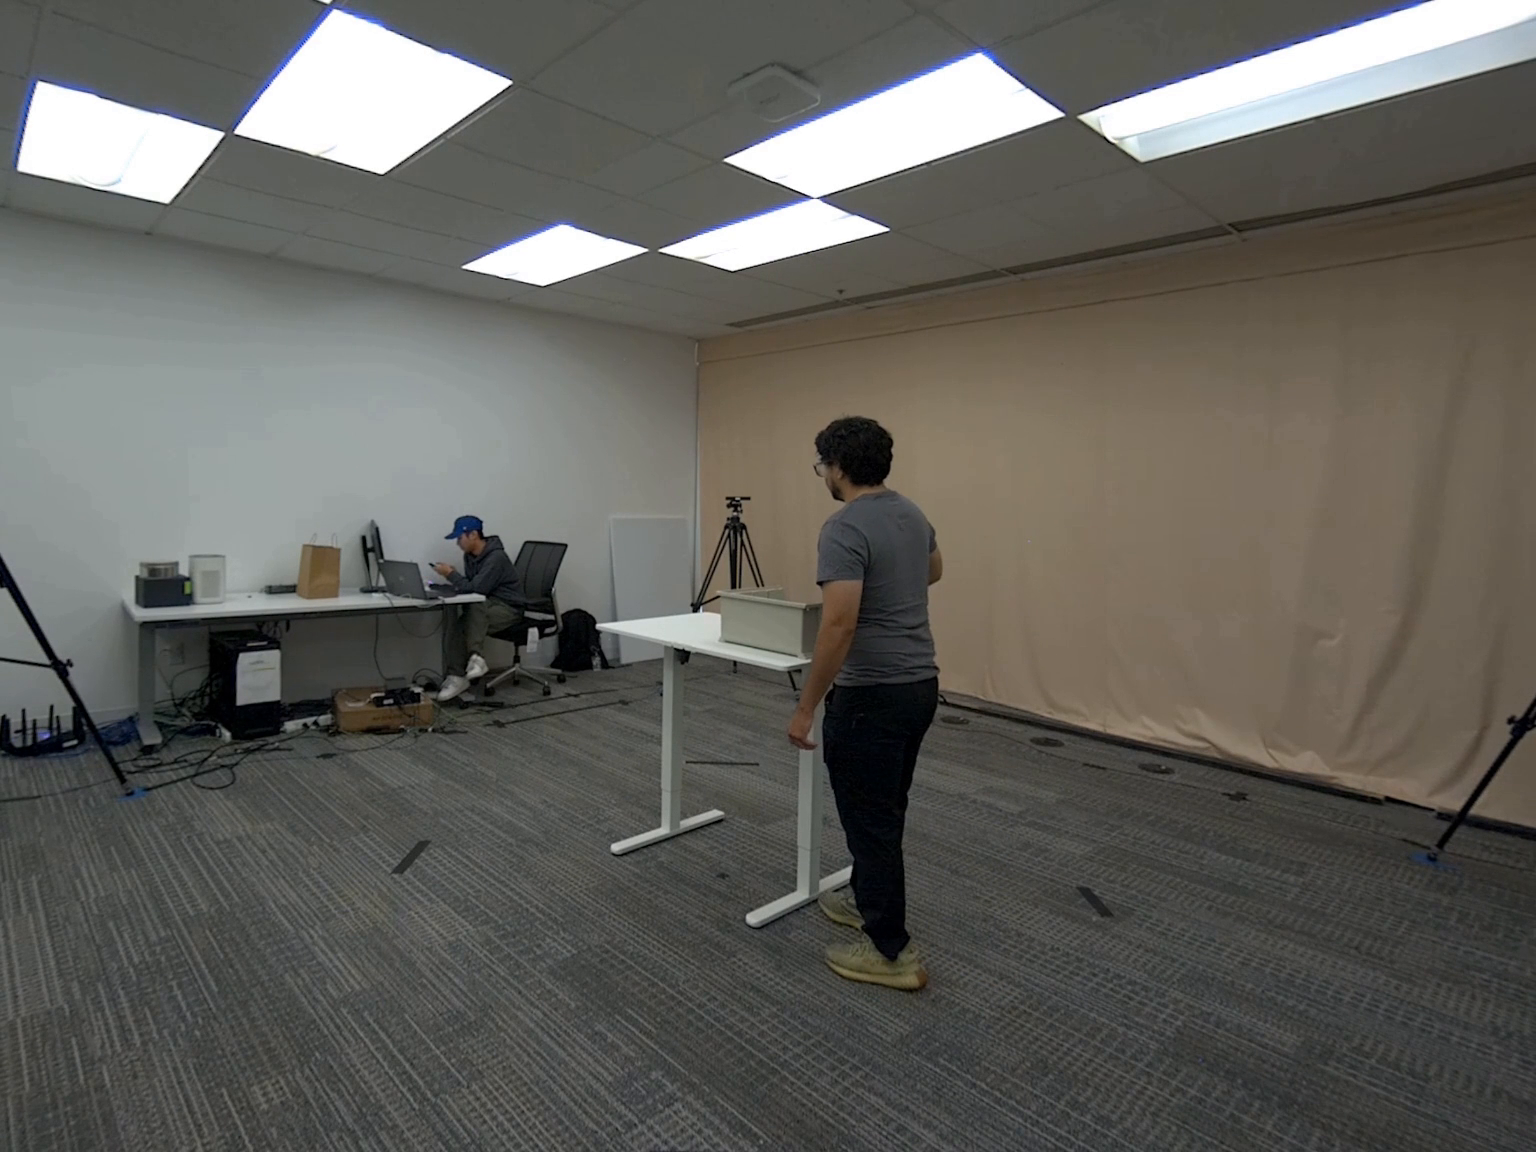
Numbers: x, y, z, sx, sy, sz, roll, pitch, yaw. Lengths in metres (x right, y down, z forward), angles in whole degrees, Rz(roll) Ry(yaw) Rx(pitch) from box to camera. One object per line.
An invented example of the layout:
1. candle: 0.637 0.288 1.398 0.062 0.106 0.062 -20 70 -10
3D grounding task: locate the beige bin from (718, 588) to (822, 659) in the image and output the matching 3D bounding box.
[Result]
1. beige bin: 0.091 0.155 2.963 0.369 0.188 0.433 -6 9 -44
